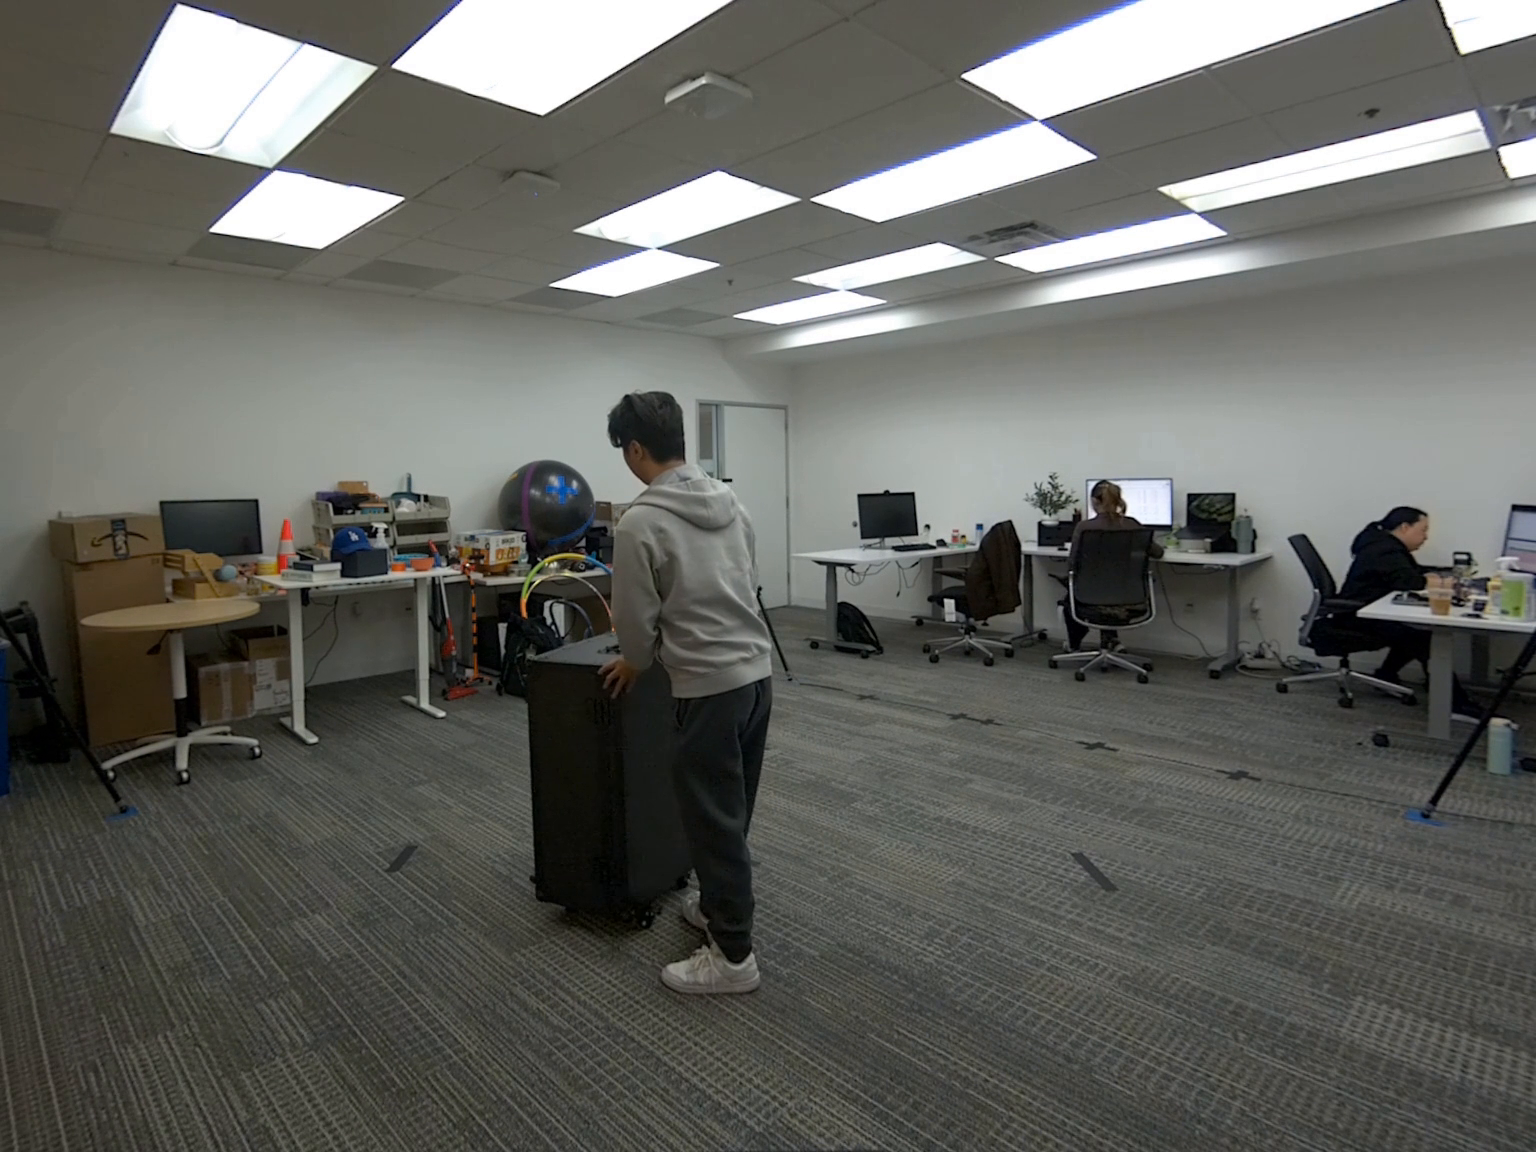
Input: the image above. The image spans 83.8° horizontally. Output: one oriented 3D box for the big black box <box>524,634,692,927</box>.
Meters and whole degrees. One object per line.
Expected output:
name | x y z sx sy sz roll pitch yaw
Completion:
big black box | -0.507 0.655 2.843 0.406 0.858 0.511 0 5 26
